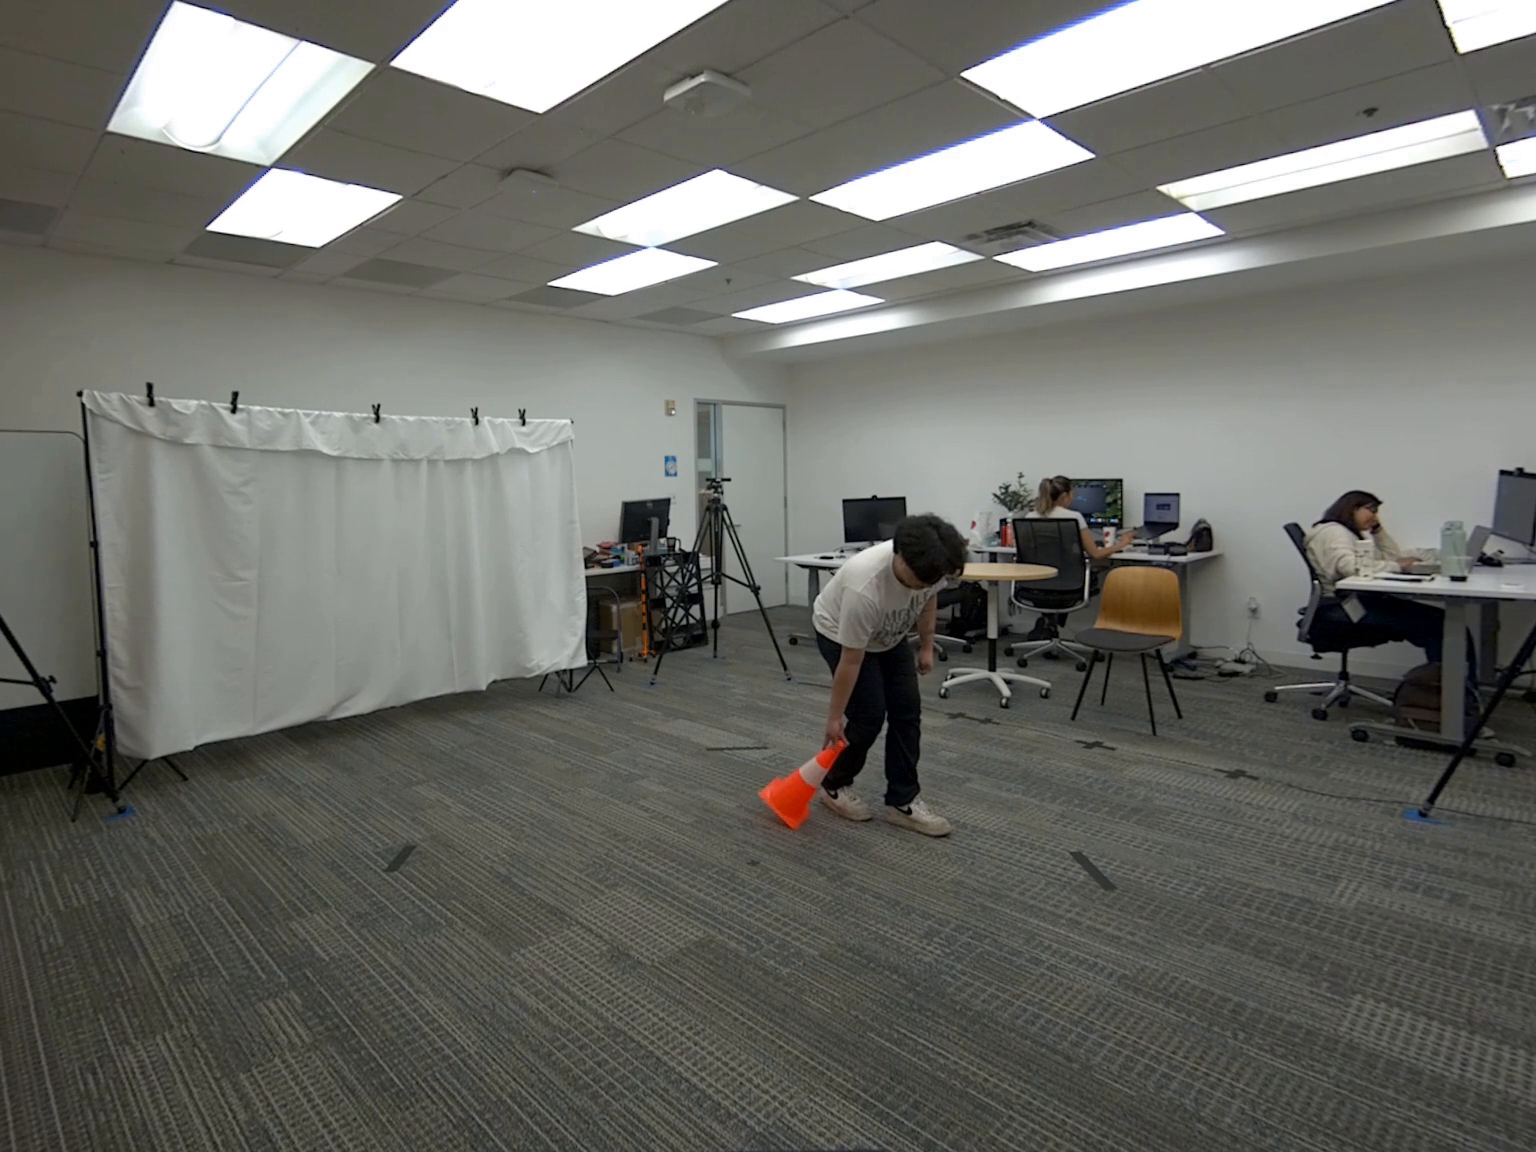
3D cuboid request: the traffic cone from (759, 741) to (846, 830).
[{"bbox_3d":[0.178,0.799,3.436,0.207,0.382,0.202,41,23,12],"label":"traffic cone"}]
